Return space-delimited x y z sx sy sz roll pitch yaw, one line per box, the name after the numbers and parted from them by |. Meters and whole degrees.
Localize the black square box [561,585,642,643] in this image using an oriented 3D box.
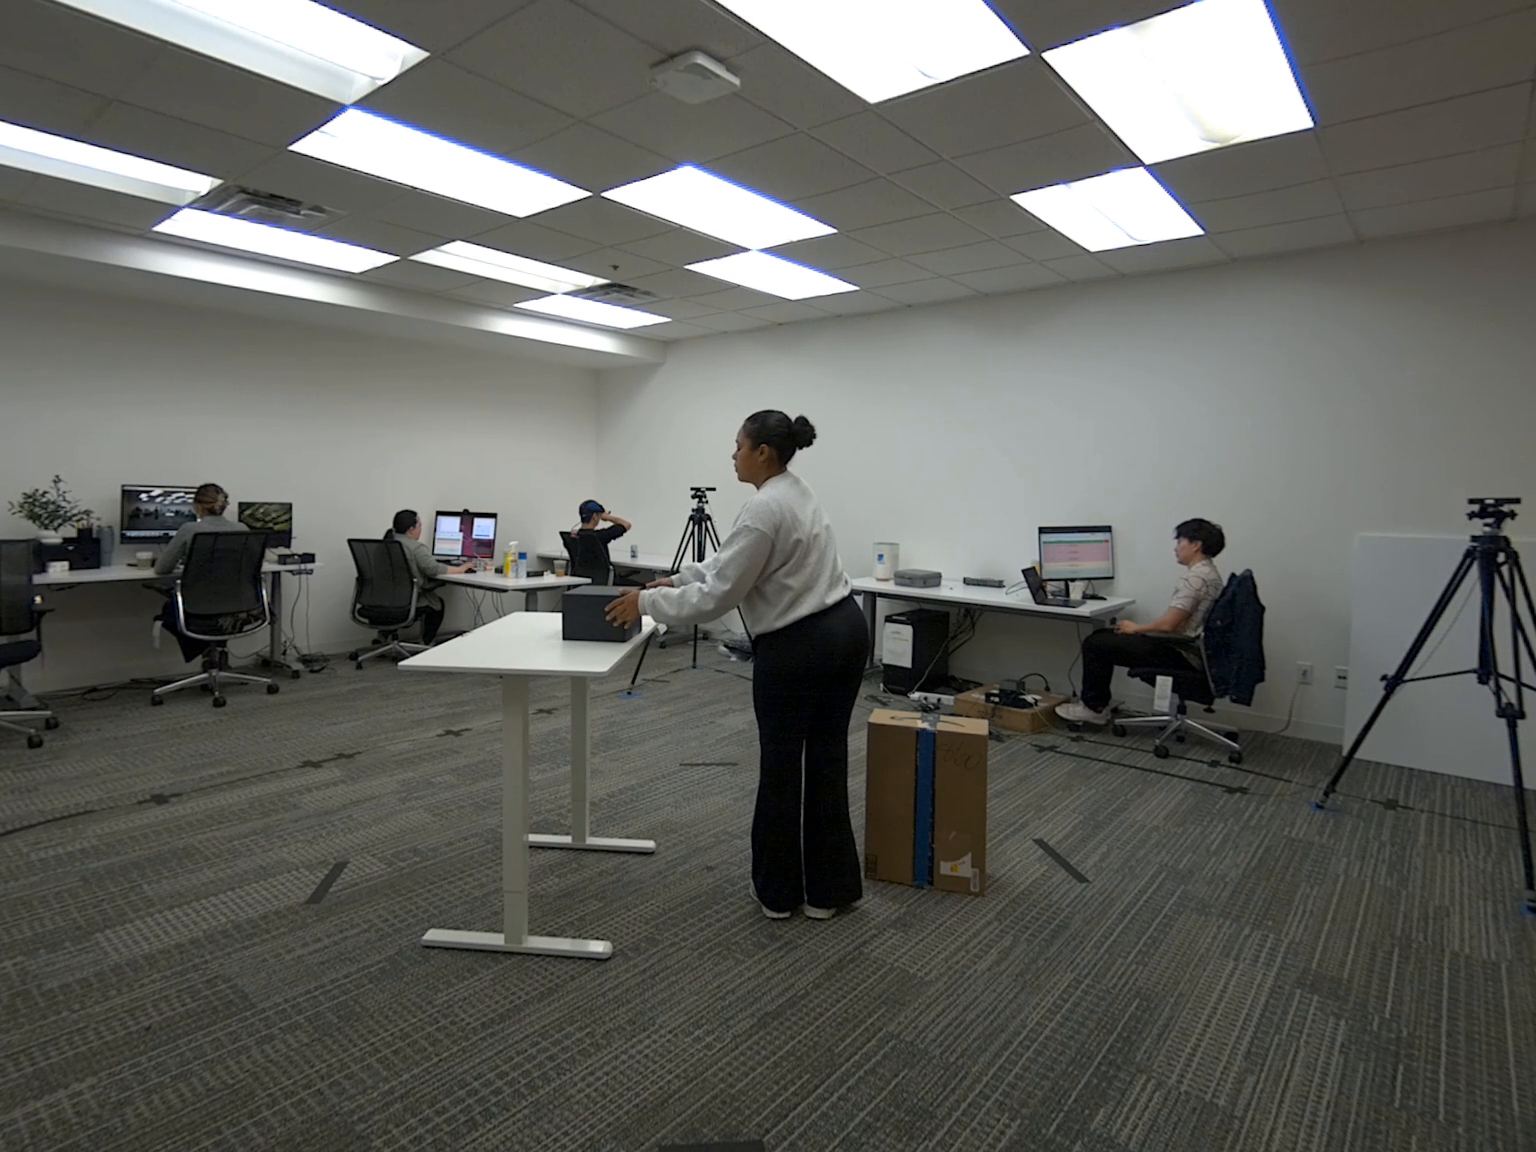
-0.568 0.121 2.873 0.219 0.155 0.227 1 6 6 | black square box
